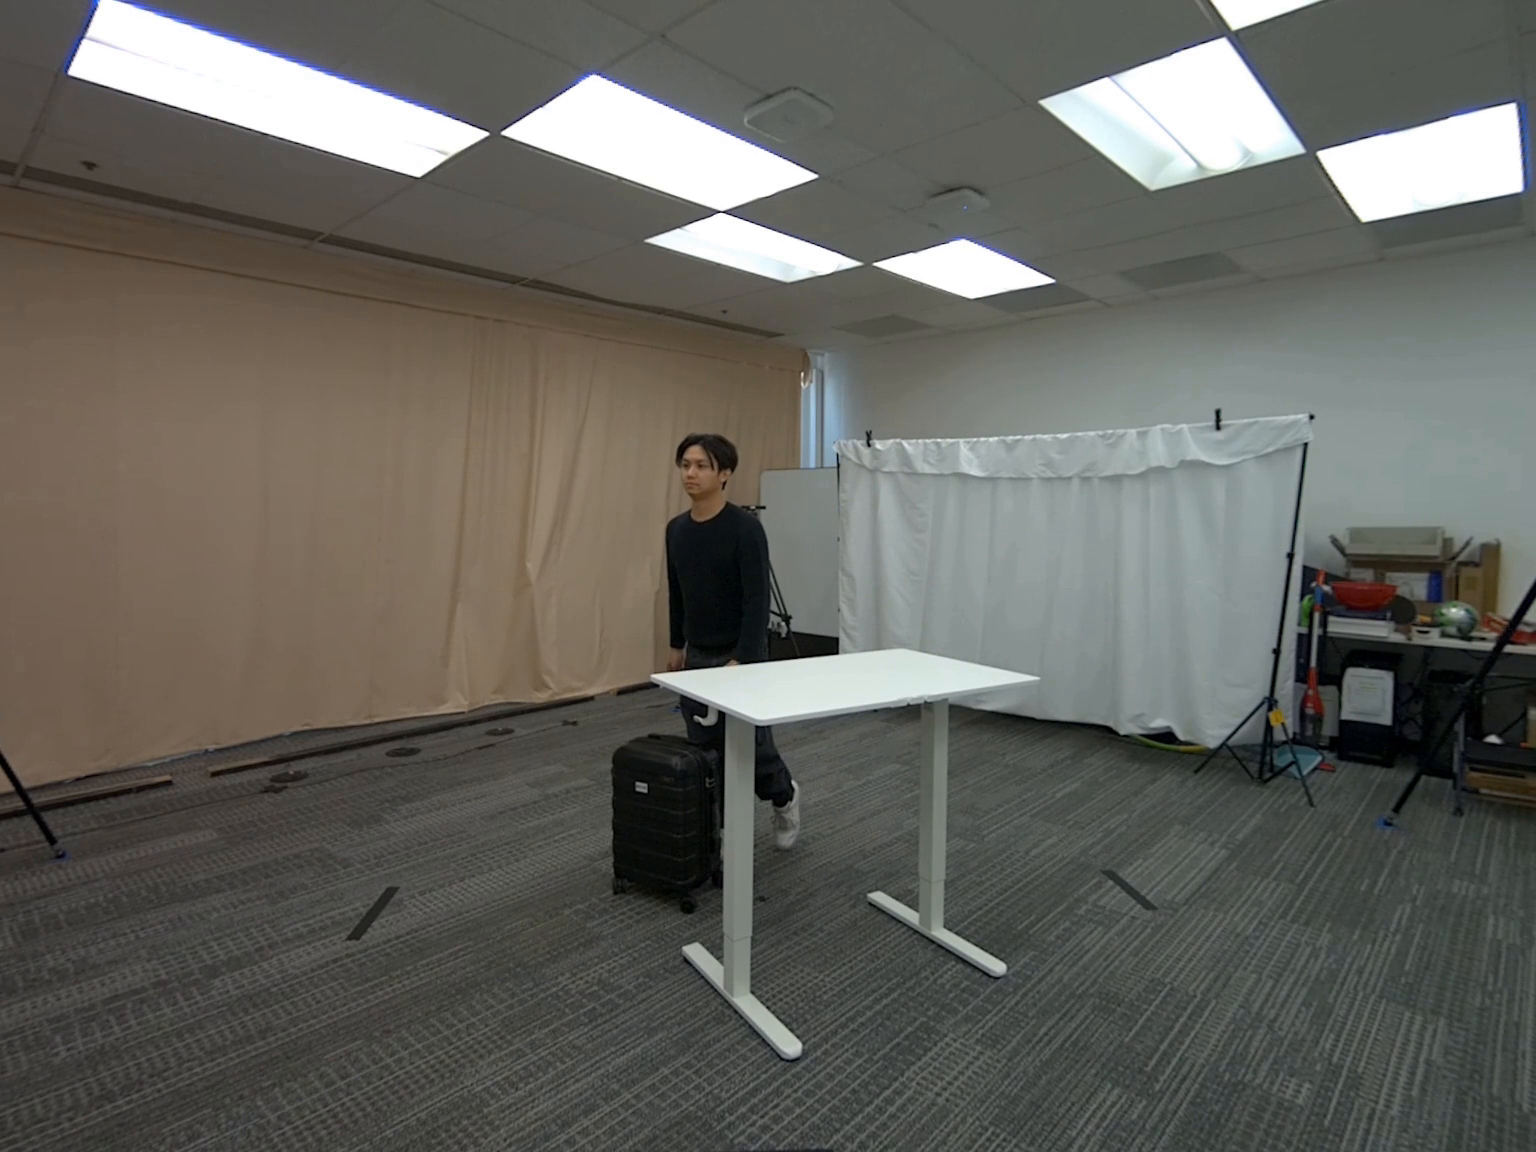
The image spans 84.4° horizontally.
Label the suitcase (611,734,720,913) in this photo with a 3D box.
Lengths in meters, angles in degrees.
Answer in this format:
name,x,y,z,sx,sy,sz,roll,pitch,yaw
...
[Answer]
name,x,y,z,sx,sy,sz,roll,pitch,yaw
suitcase,-0.375,0.863,3.046,0.387,0.548,0.241,3,4,33
